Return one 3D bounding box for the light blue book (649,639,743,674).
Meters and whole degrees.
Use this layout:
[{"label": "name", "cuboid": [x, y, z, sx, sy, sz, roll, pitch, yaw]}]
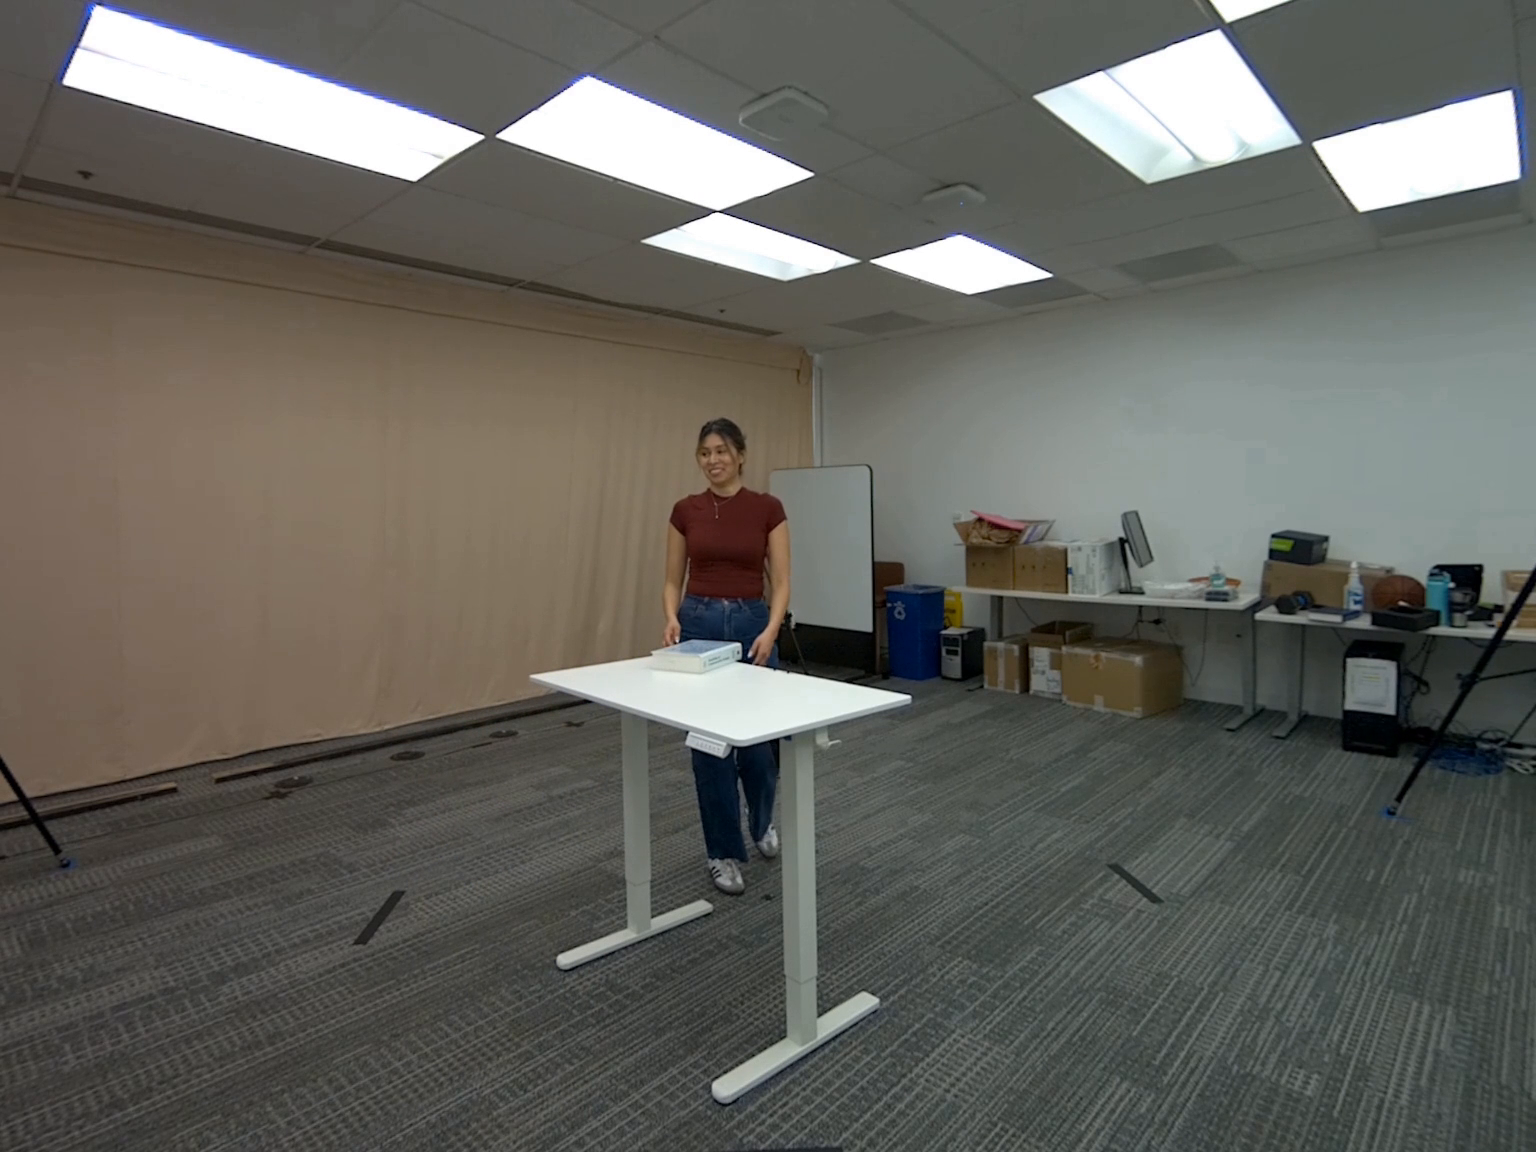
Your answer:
[{"label": "light blue book", "cuboid": [-0.241, 0.257, 2.713, 0.196, 0.059, 0.255, 1, 6, 27]}]
